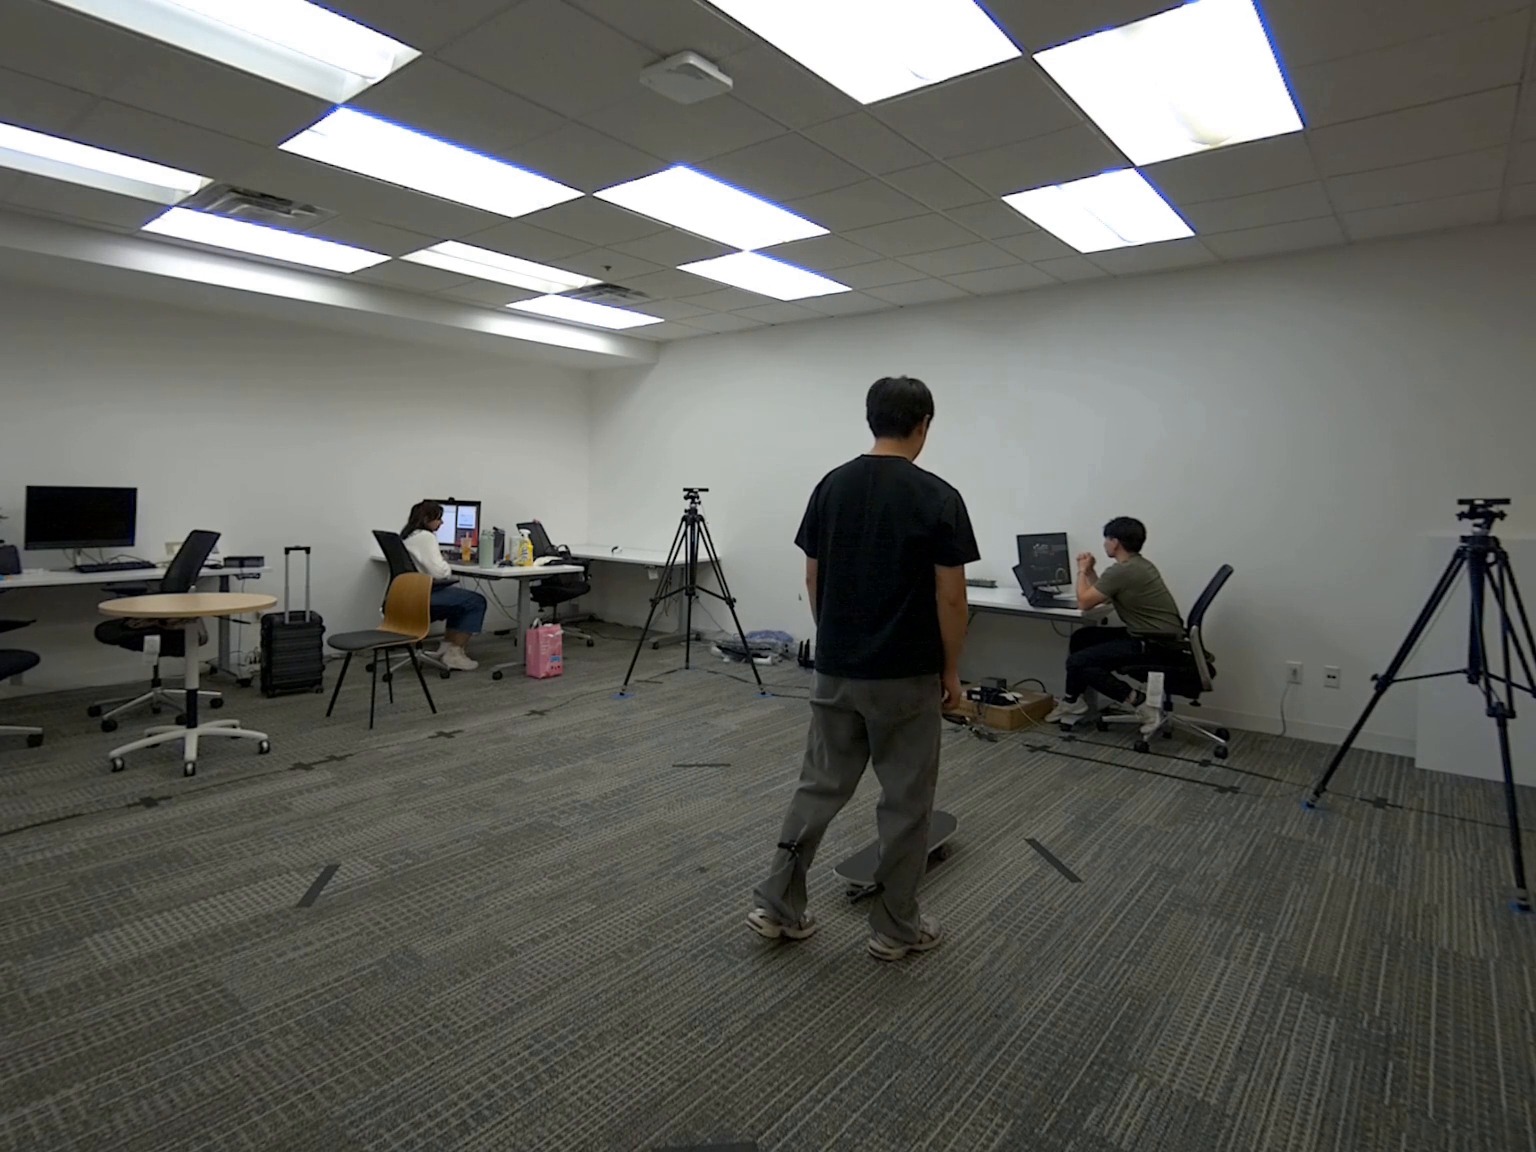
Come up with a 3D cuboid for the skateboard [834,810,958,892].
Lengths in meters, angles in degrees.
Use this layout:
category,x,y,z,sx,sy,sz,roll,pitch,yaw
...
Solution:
category,x,y,z,sx,sy,sz,roll,pitch,yaw
skateboard,0.480,1.027,3.134,0.200,0.110,0.763,5,7,36
